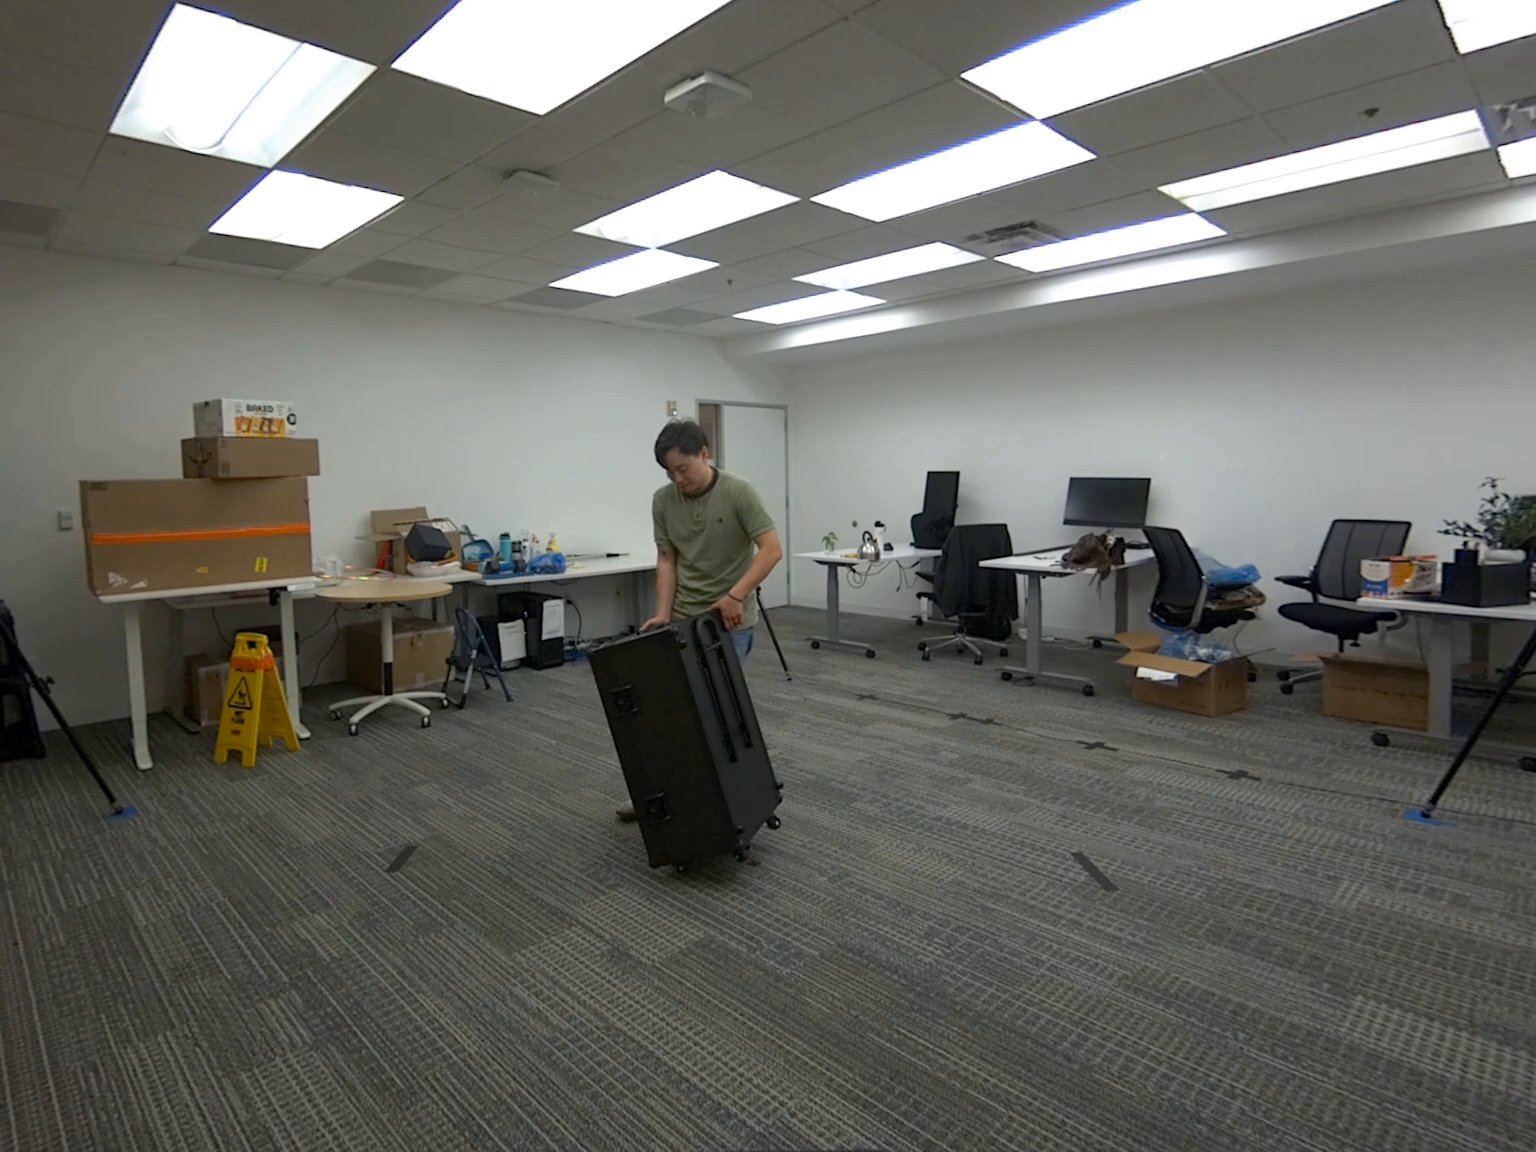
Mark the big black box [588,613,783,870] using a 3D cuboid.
[{"bbox_3d":[-0.270,0.602,3.149,0.401,0.864,0.513,-18,-2,20],"label":"big black box"}]
